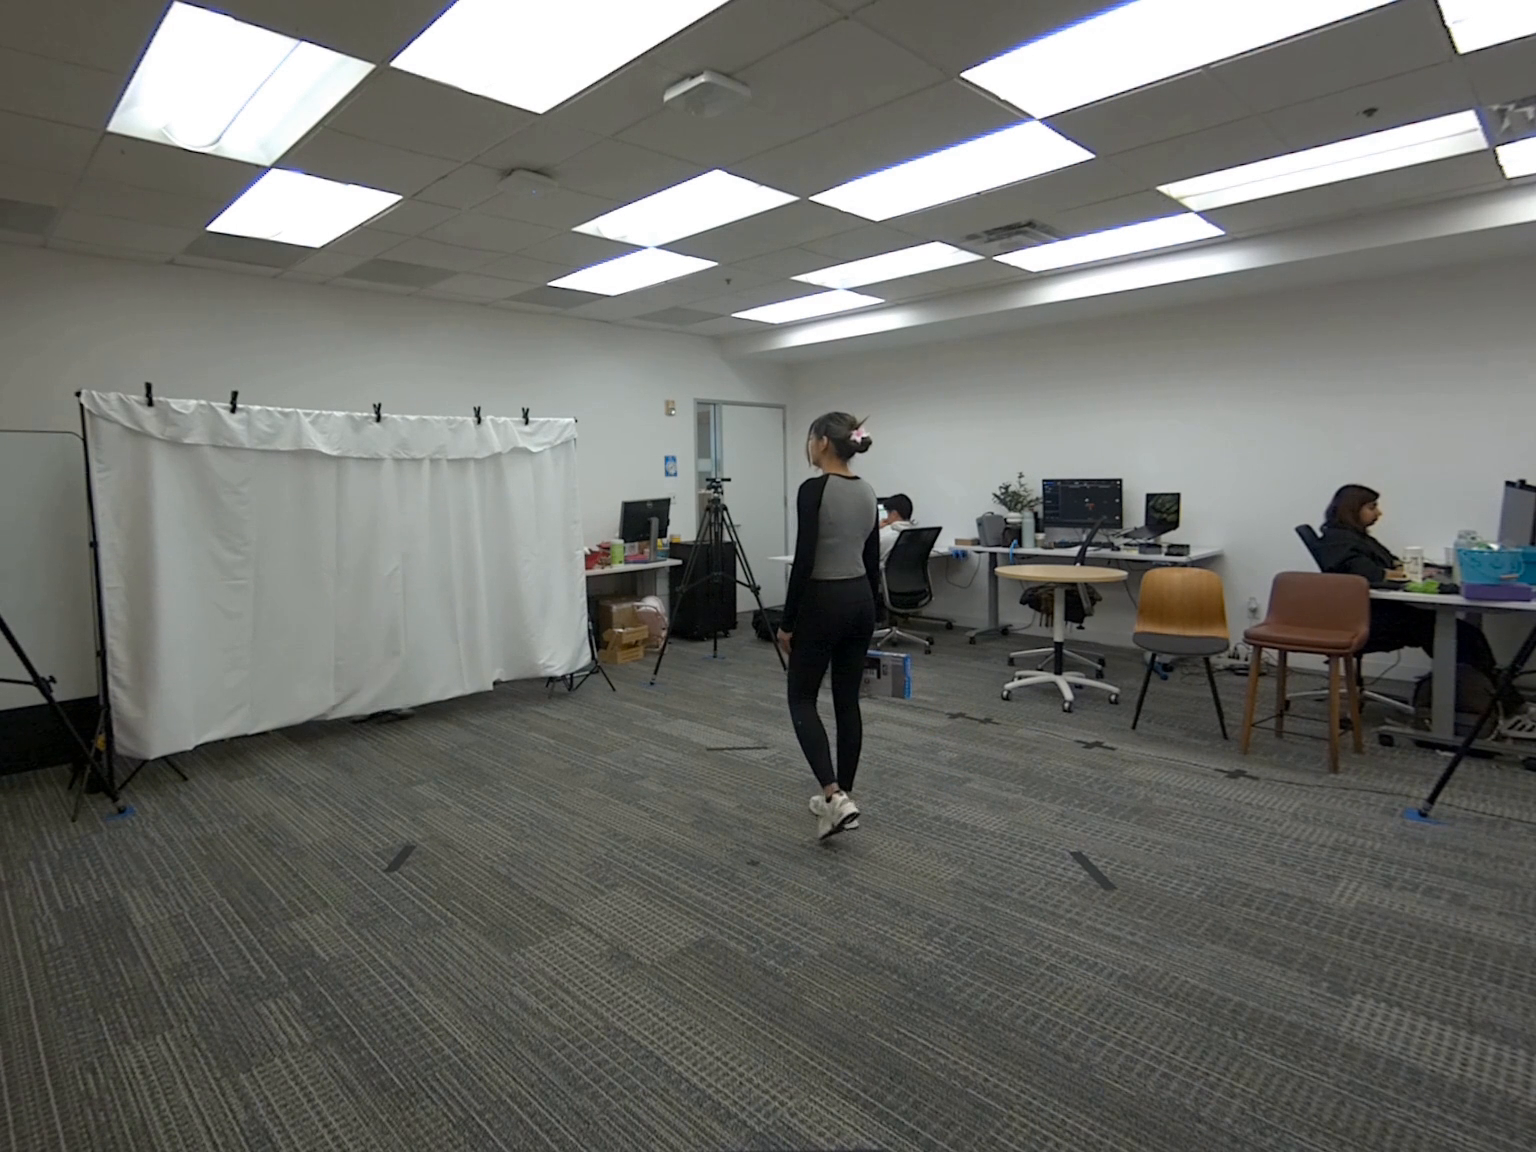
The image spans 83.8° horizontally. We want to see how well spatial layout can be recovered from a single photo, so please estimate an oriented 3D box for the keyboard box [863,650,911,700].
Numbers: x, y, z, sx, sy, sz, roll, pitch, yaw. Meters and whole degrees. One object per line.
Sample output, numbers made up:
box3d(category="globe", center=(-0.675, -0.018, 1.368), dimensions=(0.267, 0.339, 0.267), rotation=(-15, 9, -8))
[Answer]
box3d(category="keyboard box", center=(0.379, 0.400, 3.579), dimensions=(0.449, 0.175, 0.057), rotation=(3, 4, 33))
